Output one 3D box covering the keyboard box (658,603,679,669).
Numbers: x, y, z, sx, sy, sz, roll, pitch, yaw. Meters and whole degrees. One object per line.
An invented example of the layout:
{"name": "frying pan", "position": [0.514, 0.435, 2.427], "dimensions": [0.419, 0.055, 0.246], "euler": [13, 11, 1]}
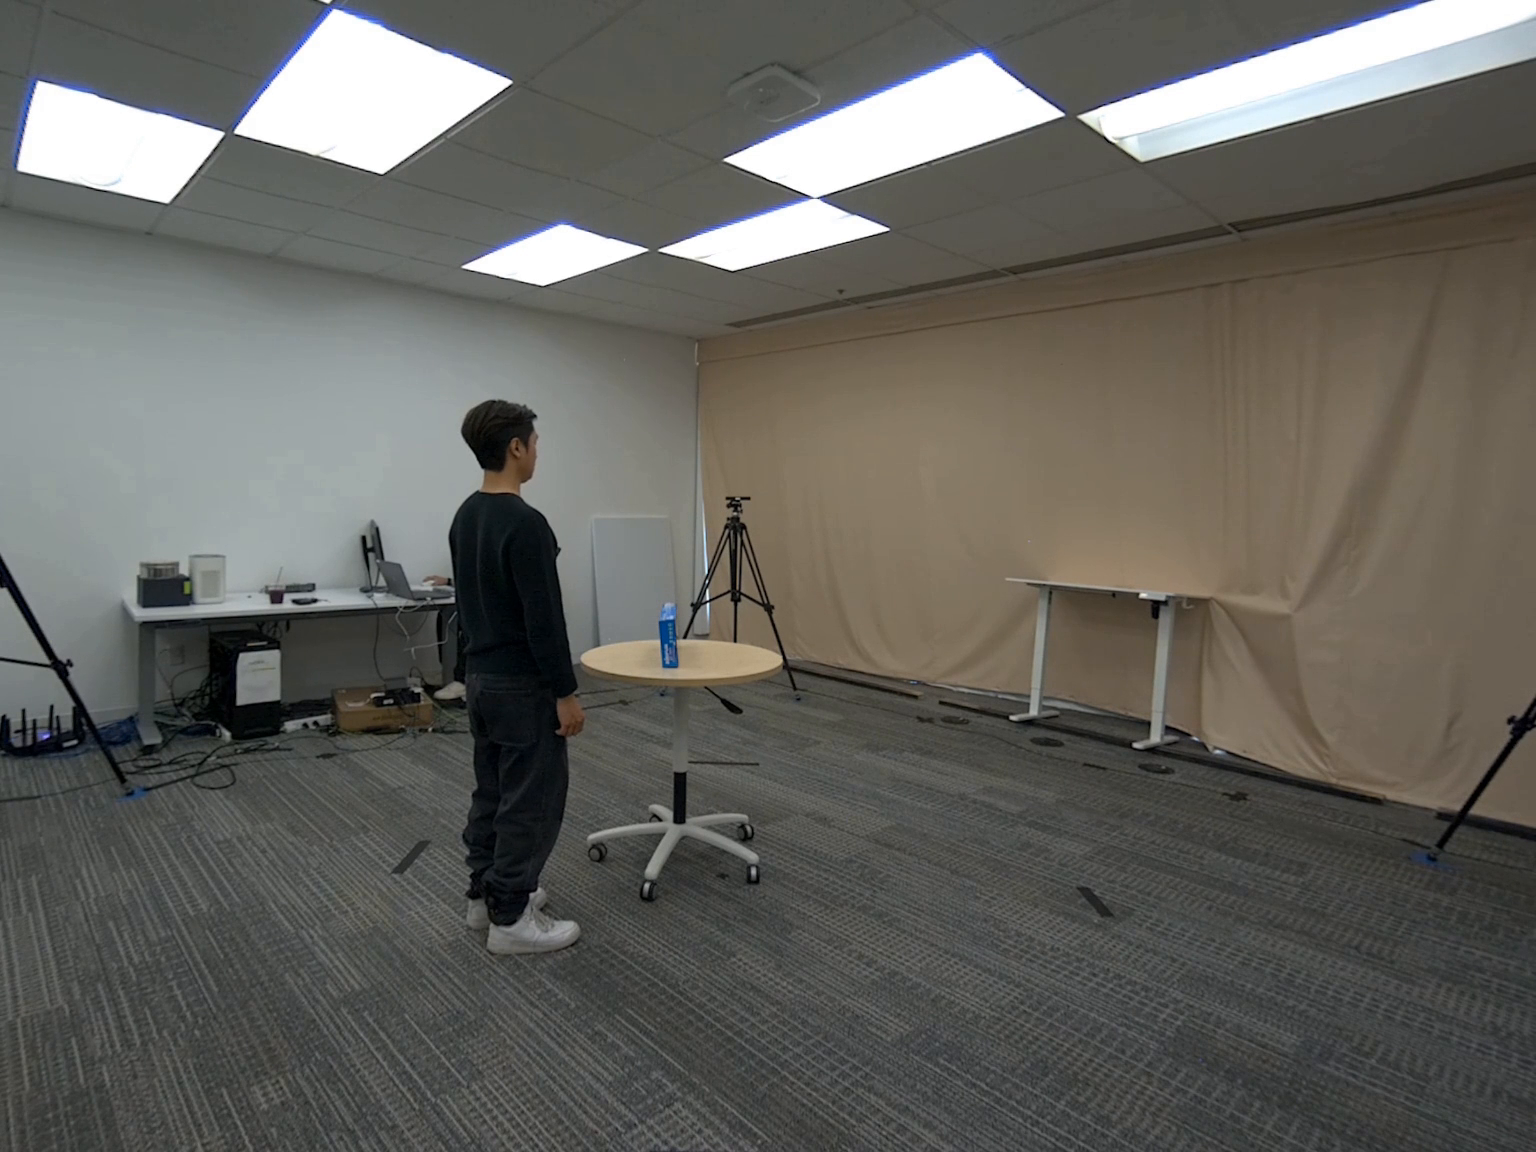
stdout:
{"name": "keyboard box", "position": [-0.382, 0.220, 3.217], "dimensions": [0.059, 0.175, 0.439], "euler": [-3, 6, -4]}
